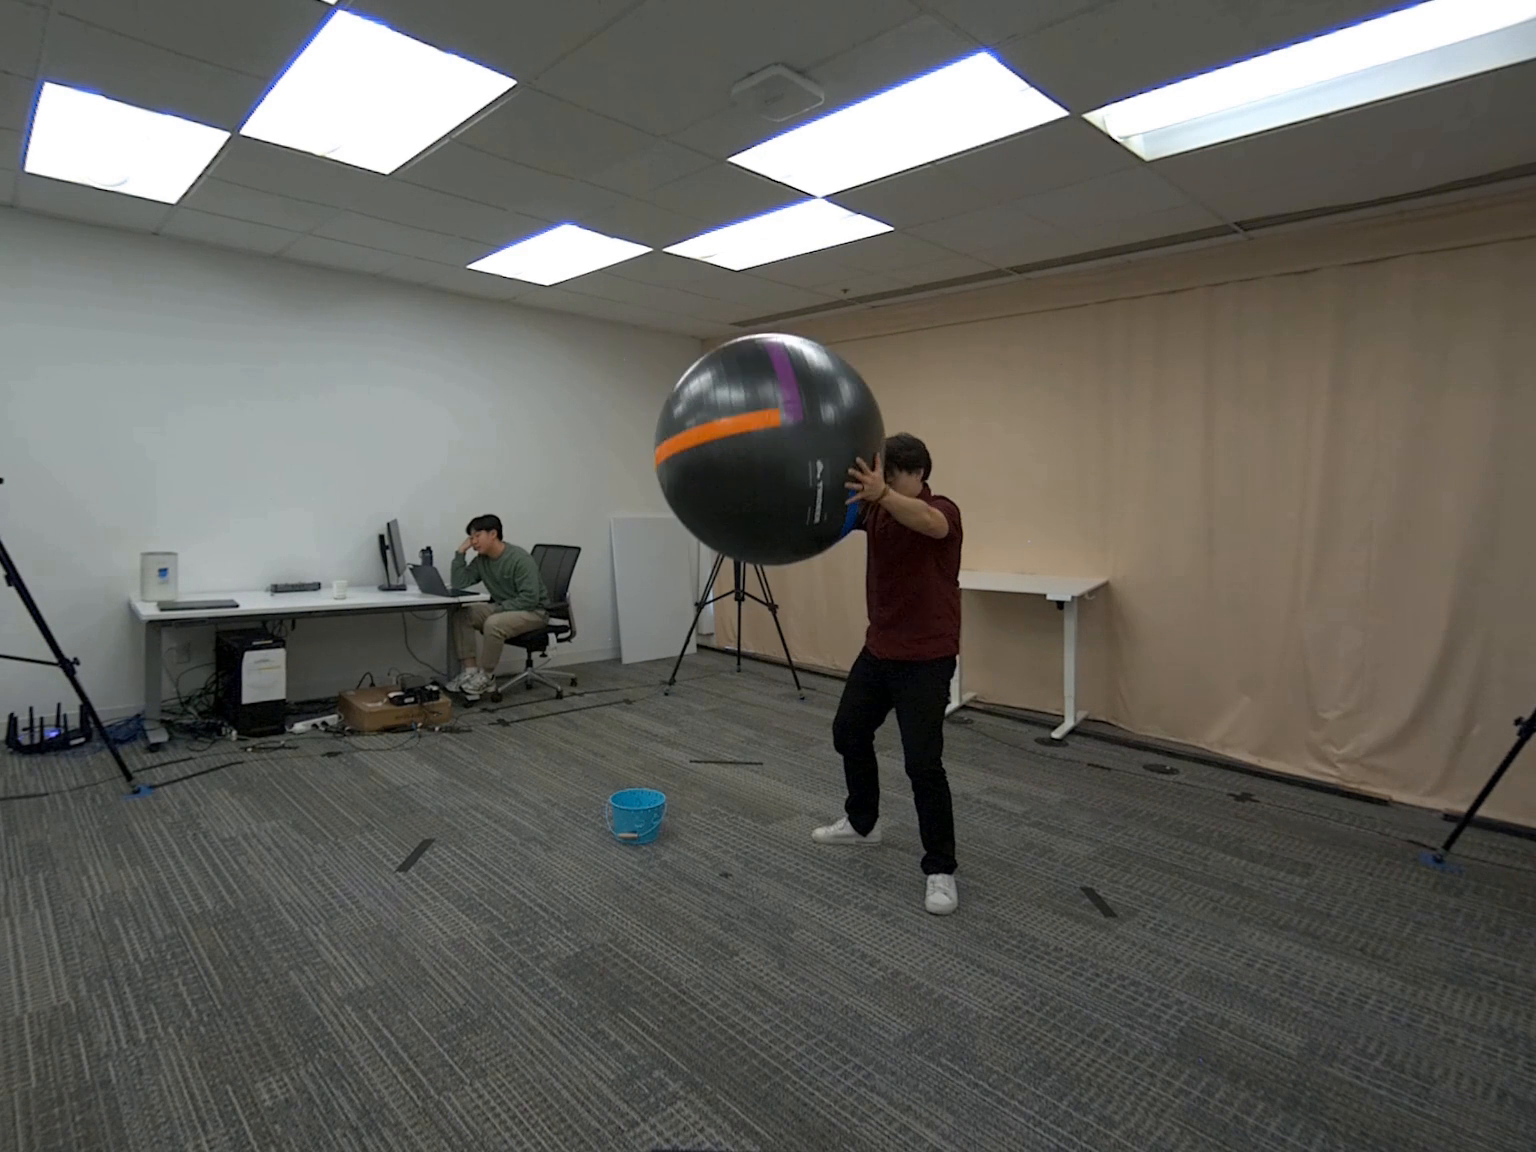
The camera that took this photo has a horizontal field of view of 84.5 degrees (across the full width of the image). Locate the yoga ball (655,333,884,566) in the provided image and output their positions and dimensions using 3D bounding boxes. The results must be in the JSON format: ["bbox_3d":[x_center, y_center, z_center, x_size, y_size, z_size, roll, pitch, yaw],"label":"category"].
[{"bbox_3d":[0.006,-0.402,2.791,0.757,0.756,0.761,1,4,-1],"label":"yoga ball"}]
